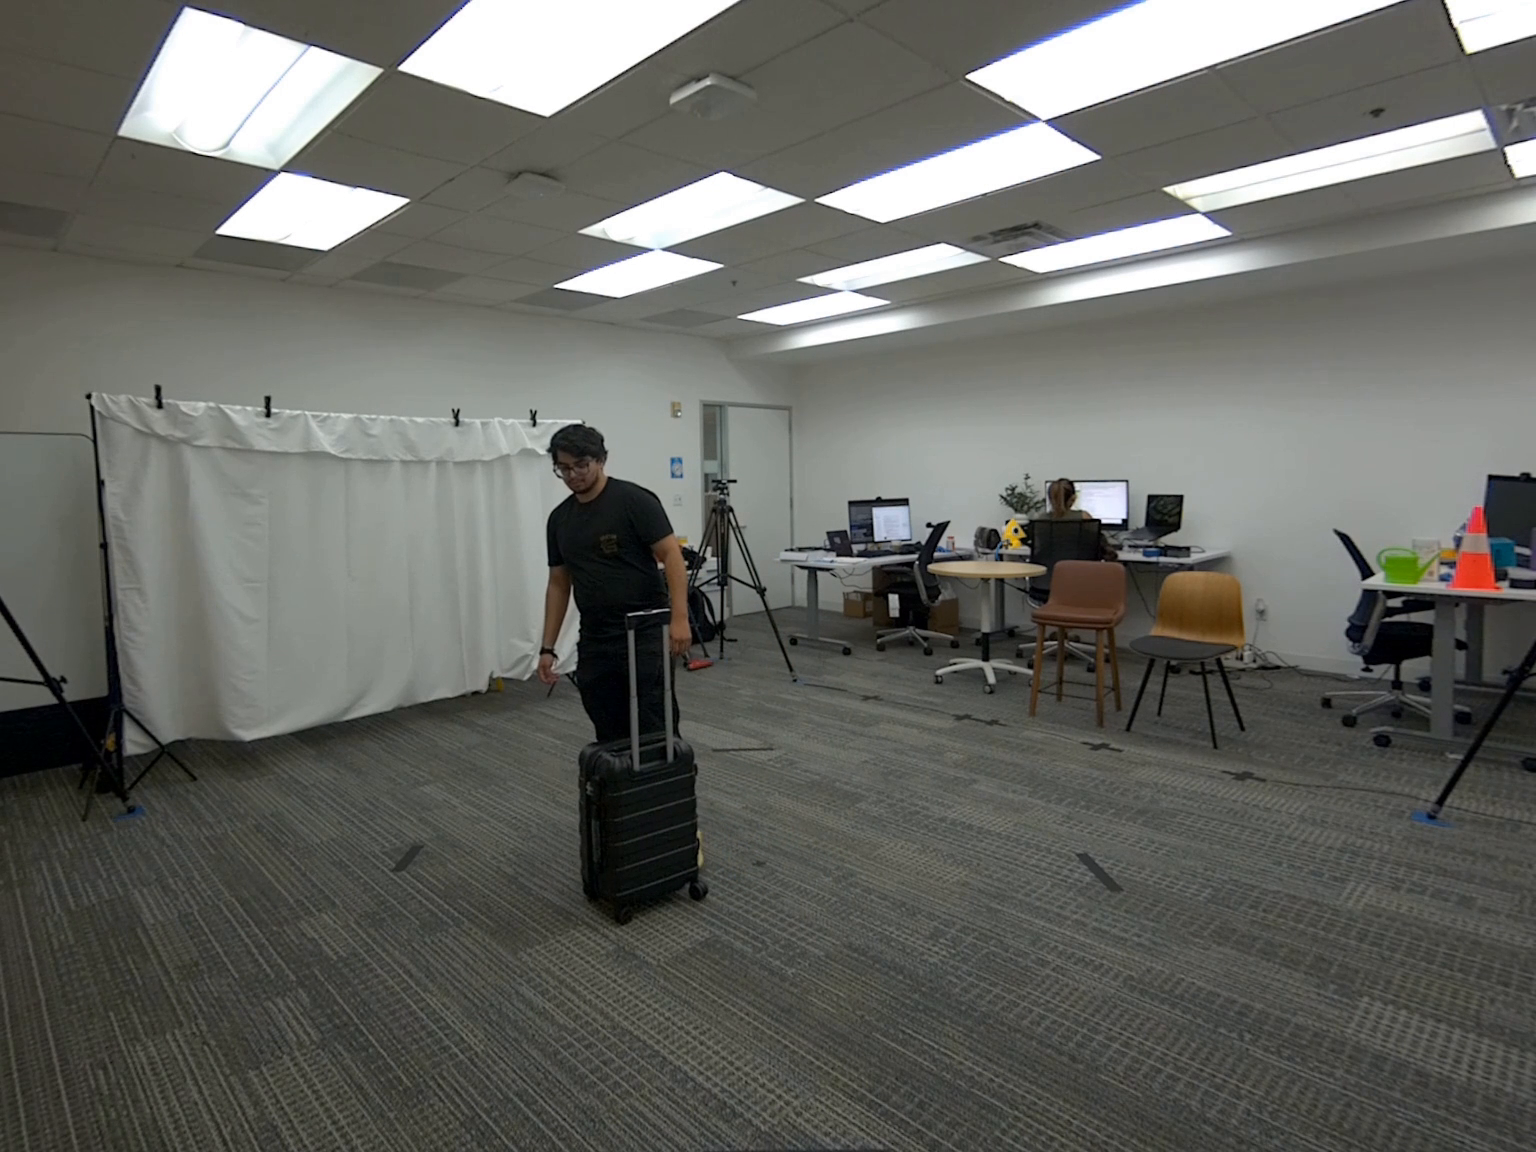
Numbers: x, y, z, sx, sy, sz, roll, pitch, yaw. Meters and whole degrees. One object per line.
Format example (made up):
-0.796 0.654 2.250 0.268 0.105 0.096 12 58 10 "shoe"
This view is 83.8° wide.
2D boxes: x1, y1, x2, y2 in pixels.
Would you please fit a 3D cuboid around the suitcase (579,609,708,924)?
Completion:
-0.436 0.608 2.836 0.374 0.976 0.264 -4 4 -37 "suitcase"
